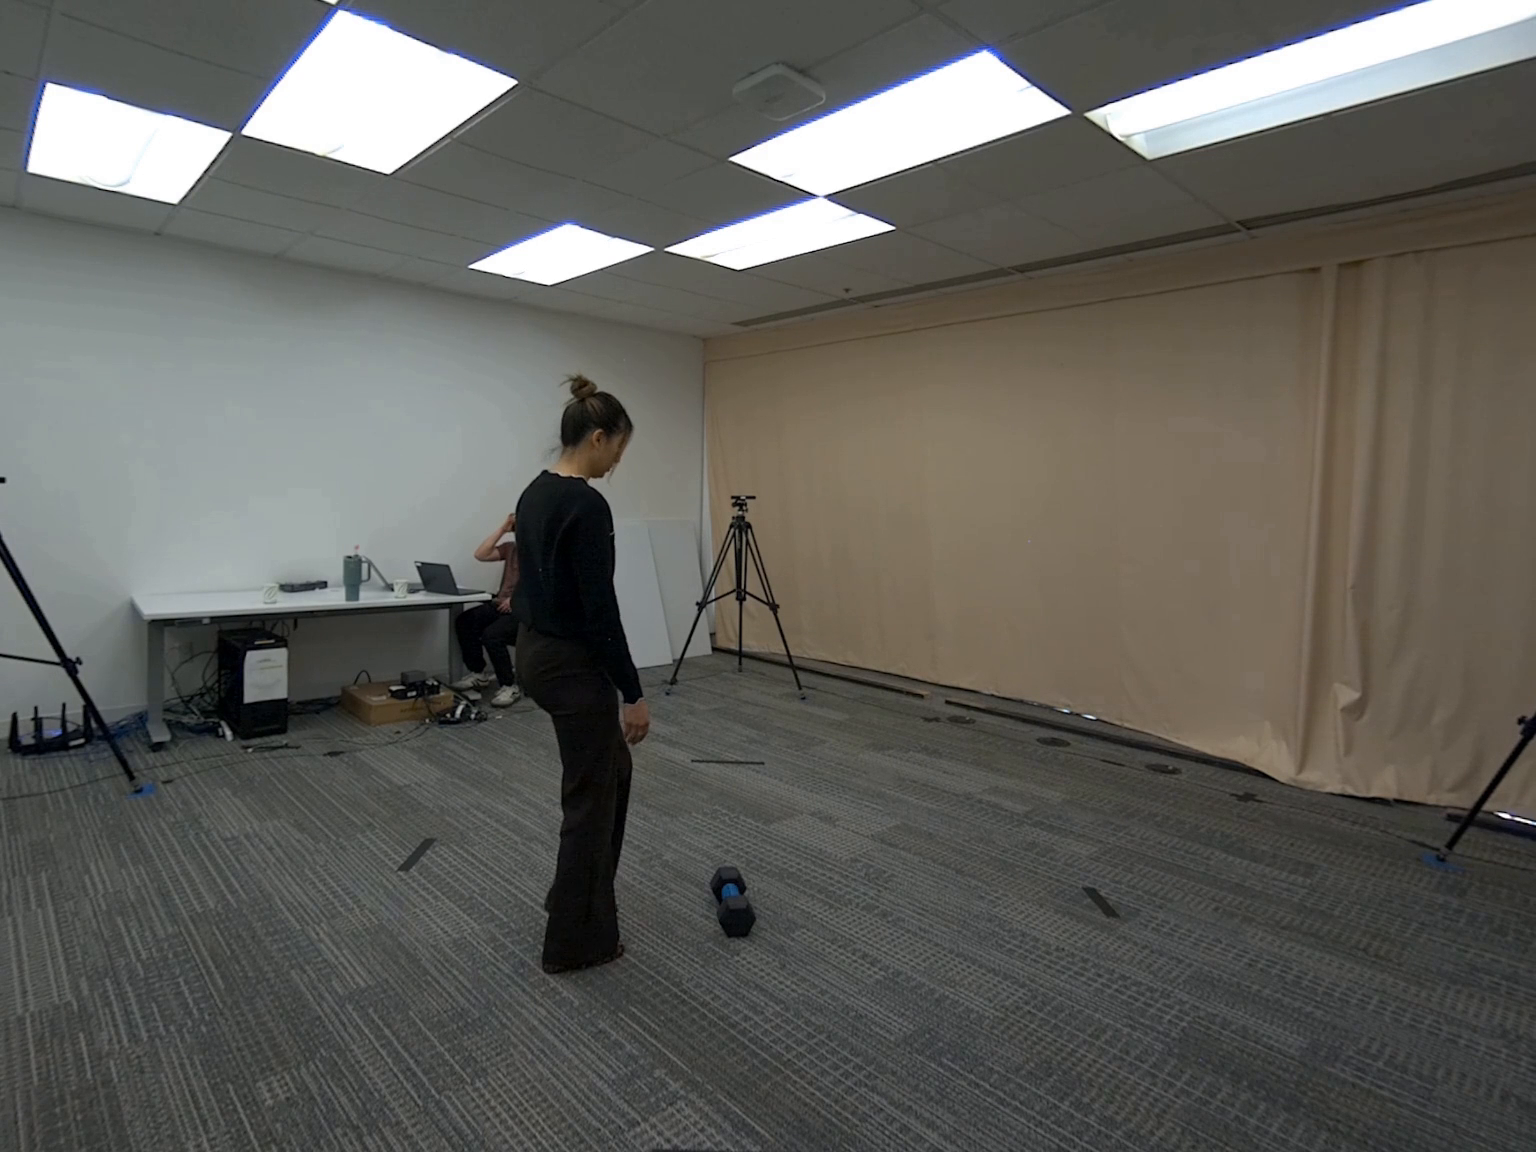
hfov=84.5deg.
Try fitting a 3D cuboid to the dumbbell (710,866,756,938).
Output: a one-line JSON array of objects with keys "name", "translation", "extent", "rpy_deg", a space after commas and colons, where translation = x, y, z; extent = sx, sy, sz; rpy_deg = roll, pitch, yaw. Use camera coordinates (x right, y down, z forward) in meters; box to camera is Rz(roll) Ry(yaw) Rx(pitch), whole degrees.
[{"name": "dumbbell", "translation": [-0.125, 1.081, 2.791], "extent": [0.108, 0.123, 0.296], "rpy_deg": [32, -1, -10]}]
